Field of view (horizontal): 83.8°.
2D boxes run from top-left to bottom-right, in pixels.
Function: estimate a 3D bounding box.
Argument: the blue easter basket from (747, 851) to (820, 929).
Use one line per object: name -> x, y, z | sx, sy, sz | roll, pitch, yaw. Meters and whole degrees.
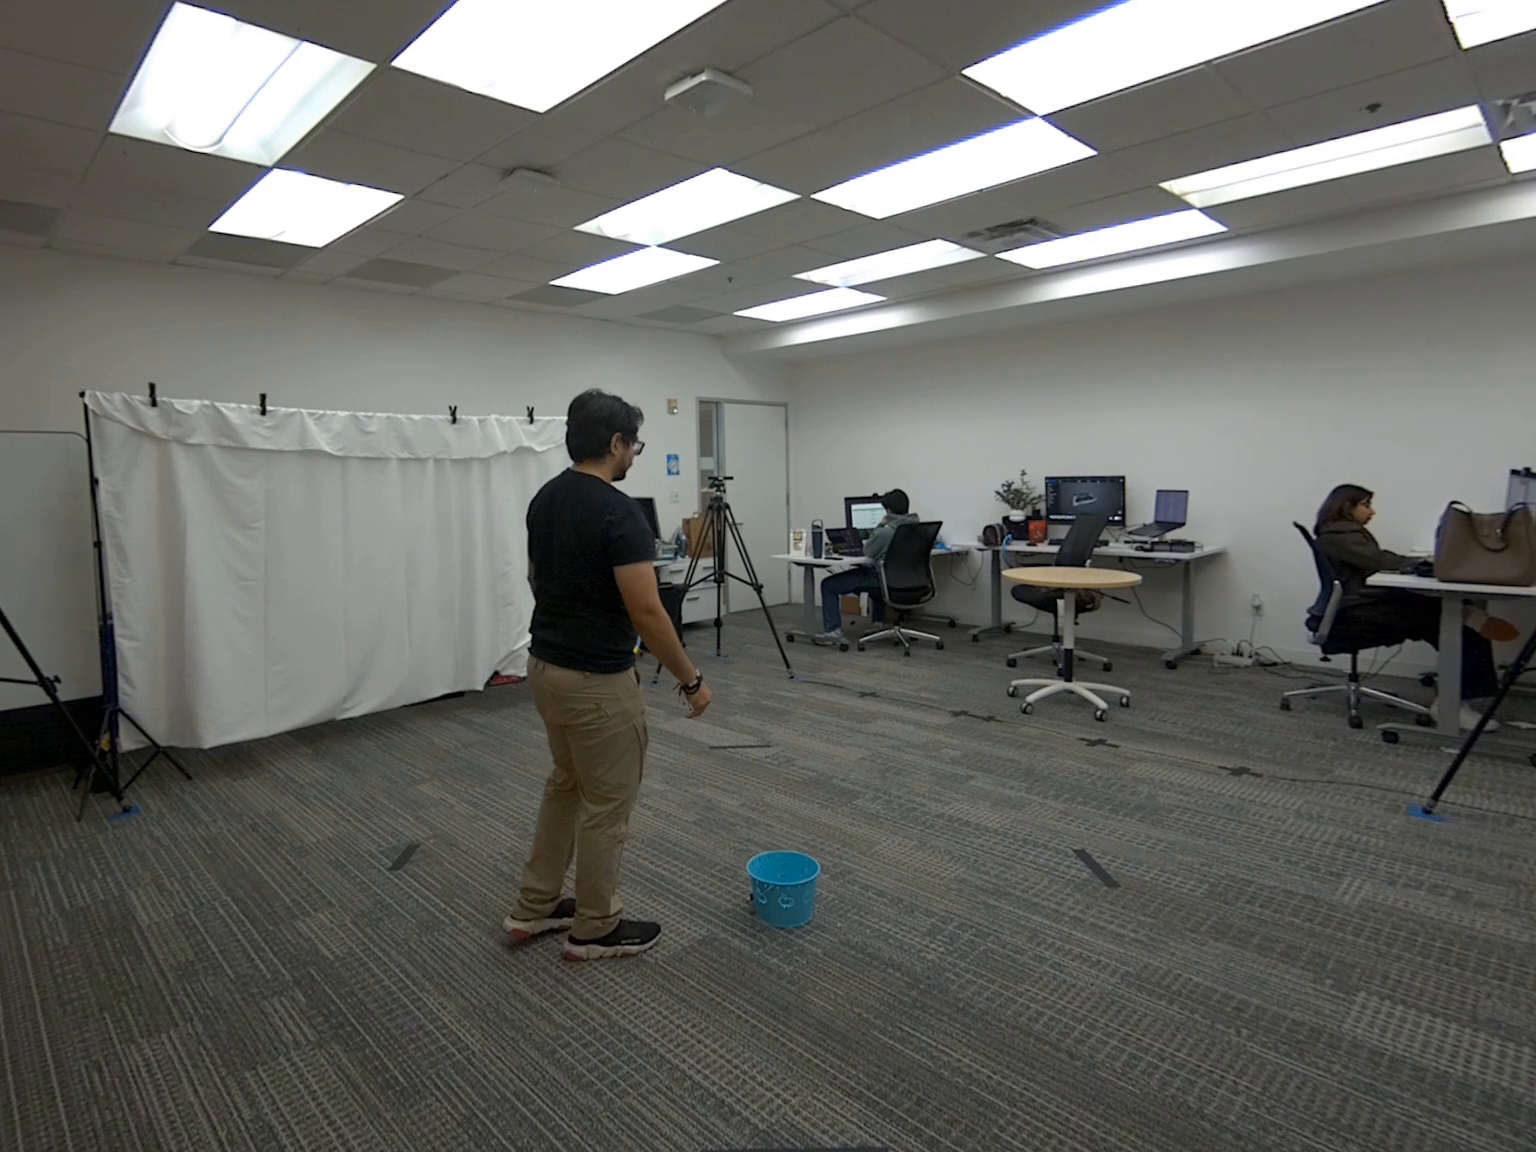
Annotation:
blue easter basket -> 0.051, 1.003, 2.730 | 0.243, 0.155, 0.245 | -1, 6, -2
